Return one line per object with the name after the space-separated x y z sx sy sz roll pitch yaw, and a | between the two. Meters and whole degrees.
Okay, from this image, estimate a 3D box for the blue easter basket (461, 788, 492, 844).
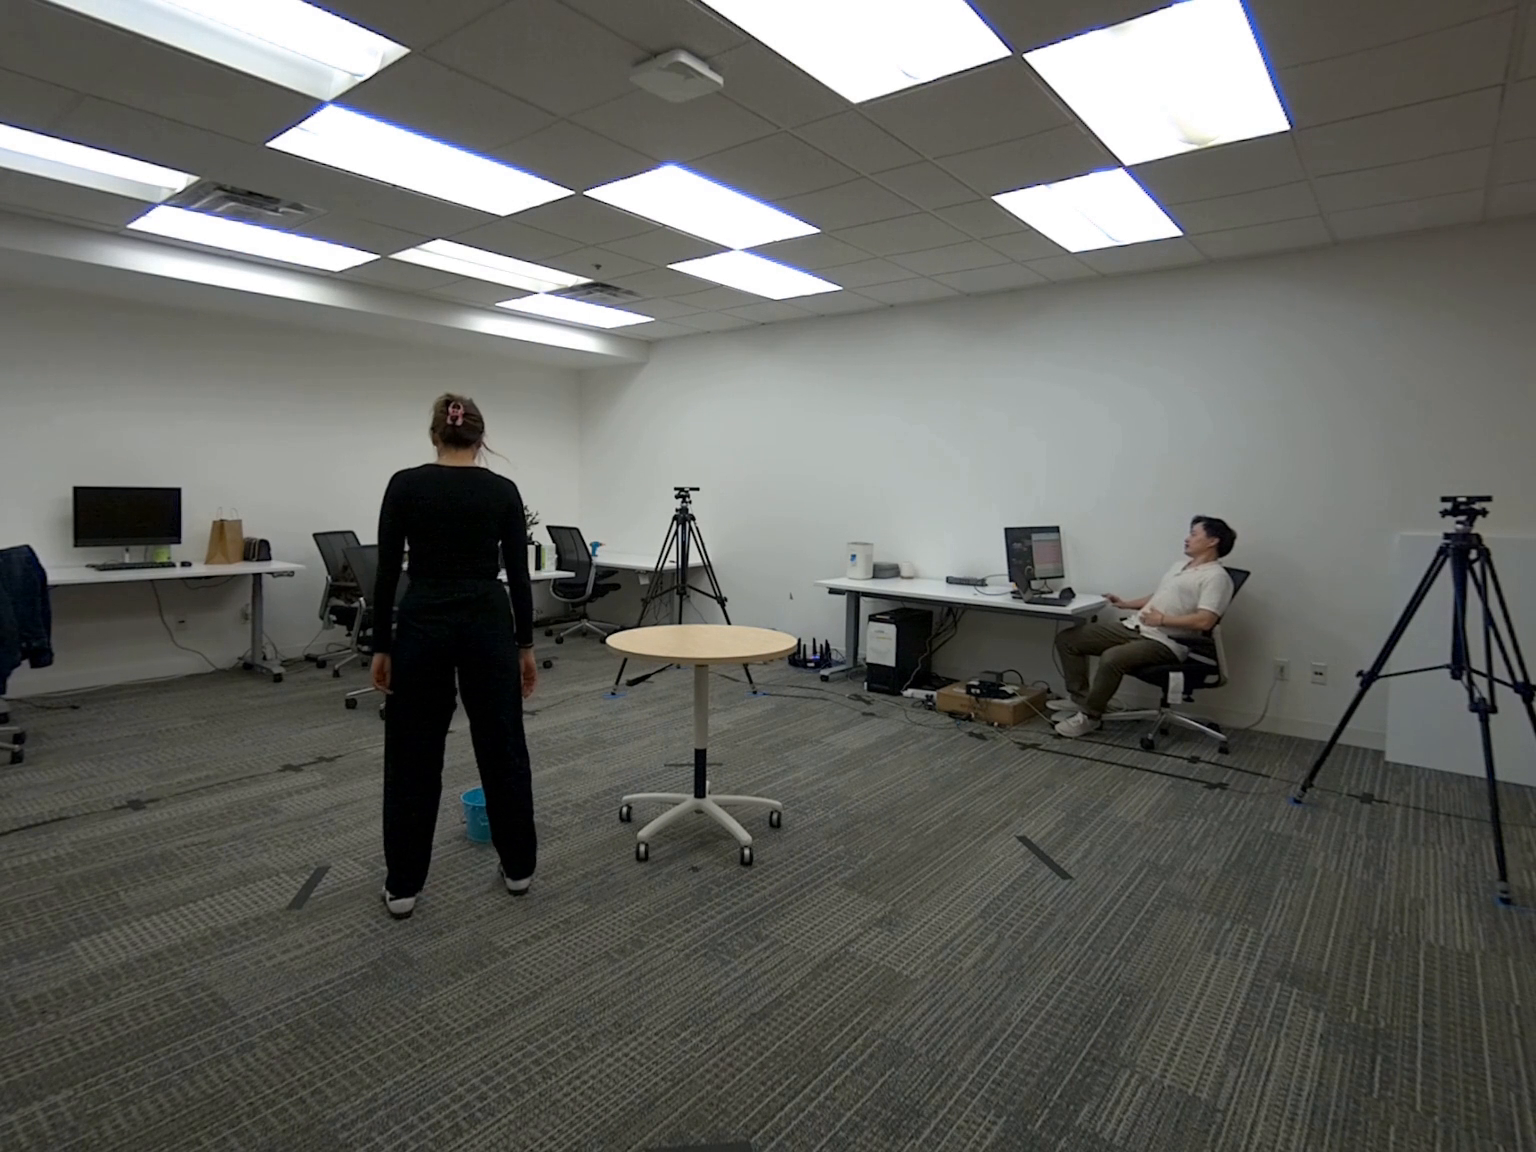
-1.124 0.947 3.405 0.243 0.155 0.245 1 4 -2 | blue easter basket
